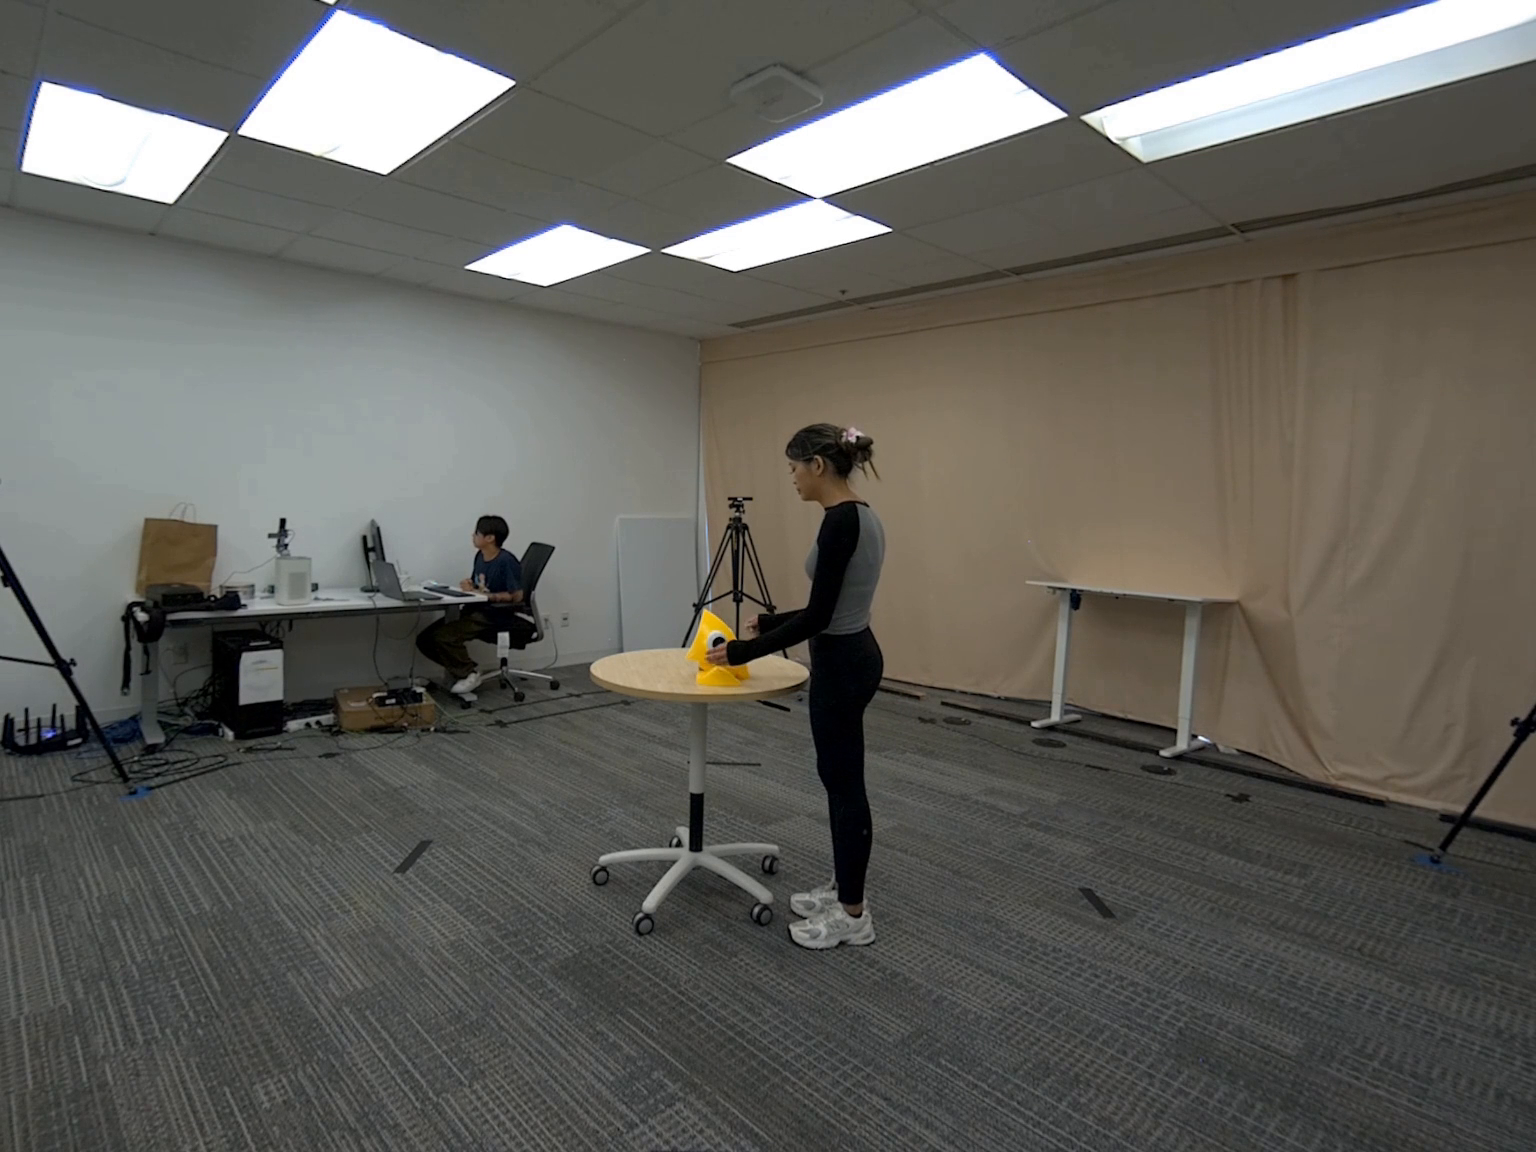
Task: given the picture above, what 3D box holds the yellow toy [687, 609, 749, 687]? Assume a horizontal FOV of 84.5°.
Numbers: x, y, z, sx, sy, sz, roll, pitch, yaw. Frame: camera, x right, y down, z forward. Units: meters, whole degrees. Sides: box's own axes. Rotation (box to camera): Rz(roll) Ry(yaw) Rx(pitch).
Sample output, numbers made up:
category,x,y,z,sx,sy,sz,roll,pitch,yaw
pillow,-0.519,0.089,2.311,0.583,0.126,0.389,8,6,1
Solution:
category,x,y,z,sx,sy,sz,roll,pitch,yaw
yellow toy,-0.157,0.228,2.794,0.195,0.230,0.203,2,4,14
